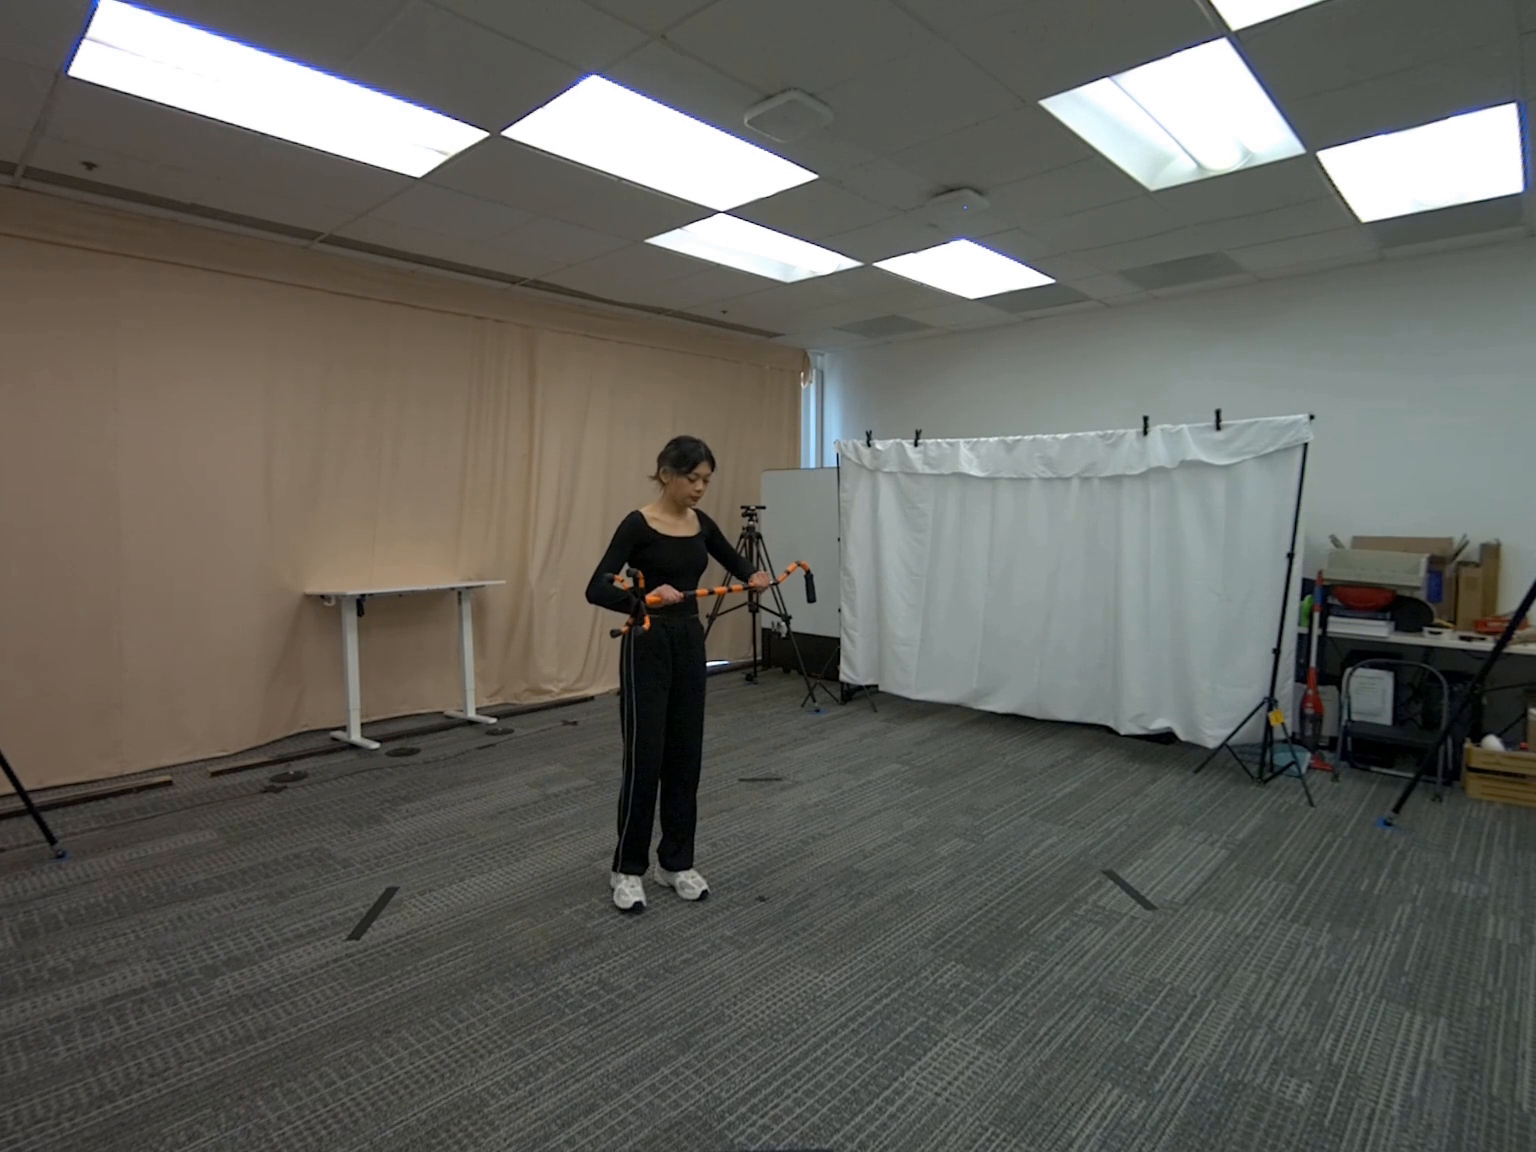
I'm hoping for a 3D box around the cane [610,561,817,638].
[{"bbox_3d":[-0.134,0.048,2.888,0.156,0.207,0.881,-8,-1,45],"label":"cane"}]
